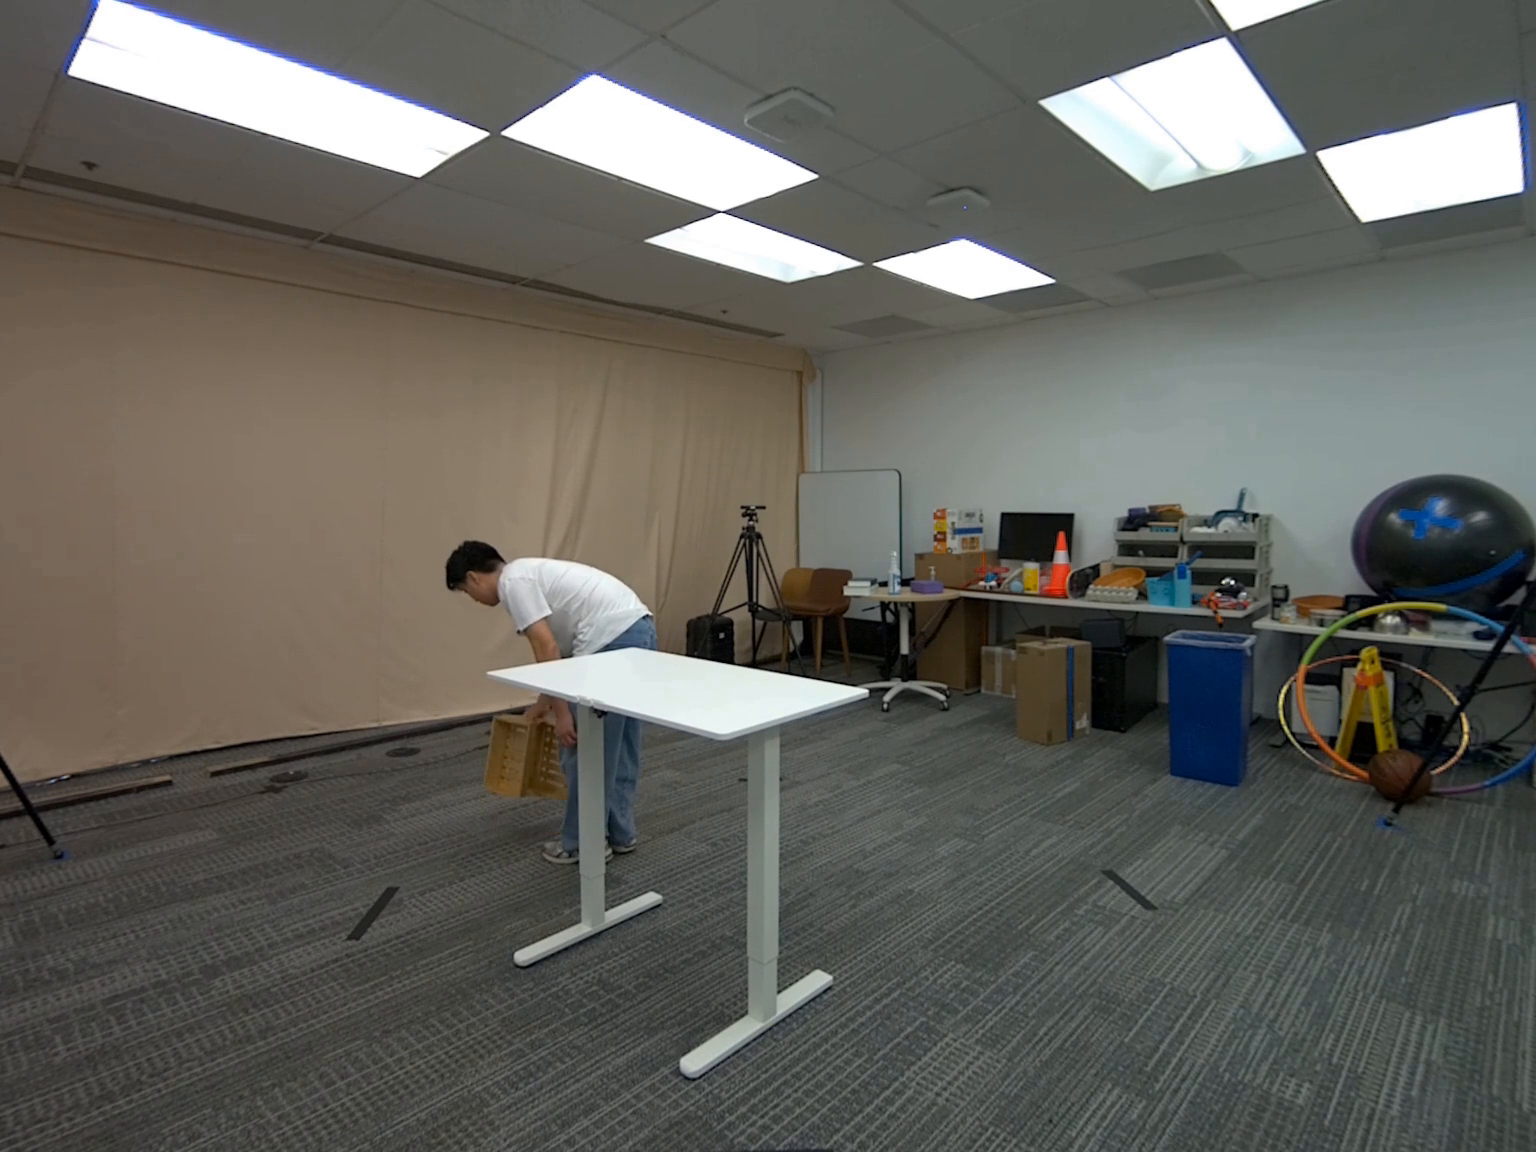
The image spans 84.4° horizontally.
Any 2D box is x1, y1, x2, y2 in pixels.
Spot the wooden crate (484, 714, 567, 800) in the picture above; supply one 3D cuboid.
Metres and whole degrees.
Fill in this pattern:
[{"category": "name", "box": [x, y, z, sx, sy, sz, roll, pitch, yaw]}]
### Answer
[{"category": "wooden crate", "box": [-1.003, 0.759, 3.555, 0.312, 0.325, 0.264, 2, -8, 42]}]
